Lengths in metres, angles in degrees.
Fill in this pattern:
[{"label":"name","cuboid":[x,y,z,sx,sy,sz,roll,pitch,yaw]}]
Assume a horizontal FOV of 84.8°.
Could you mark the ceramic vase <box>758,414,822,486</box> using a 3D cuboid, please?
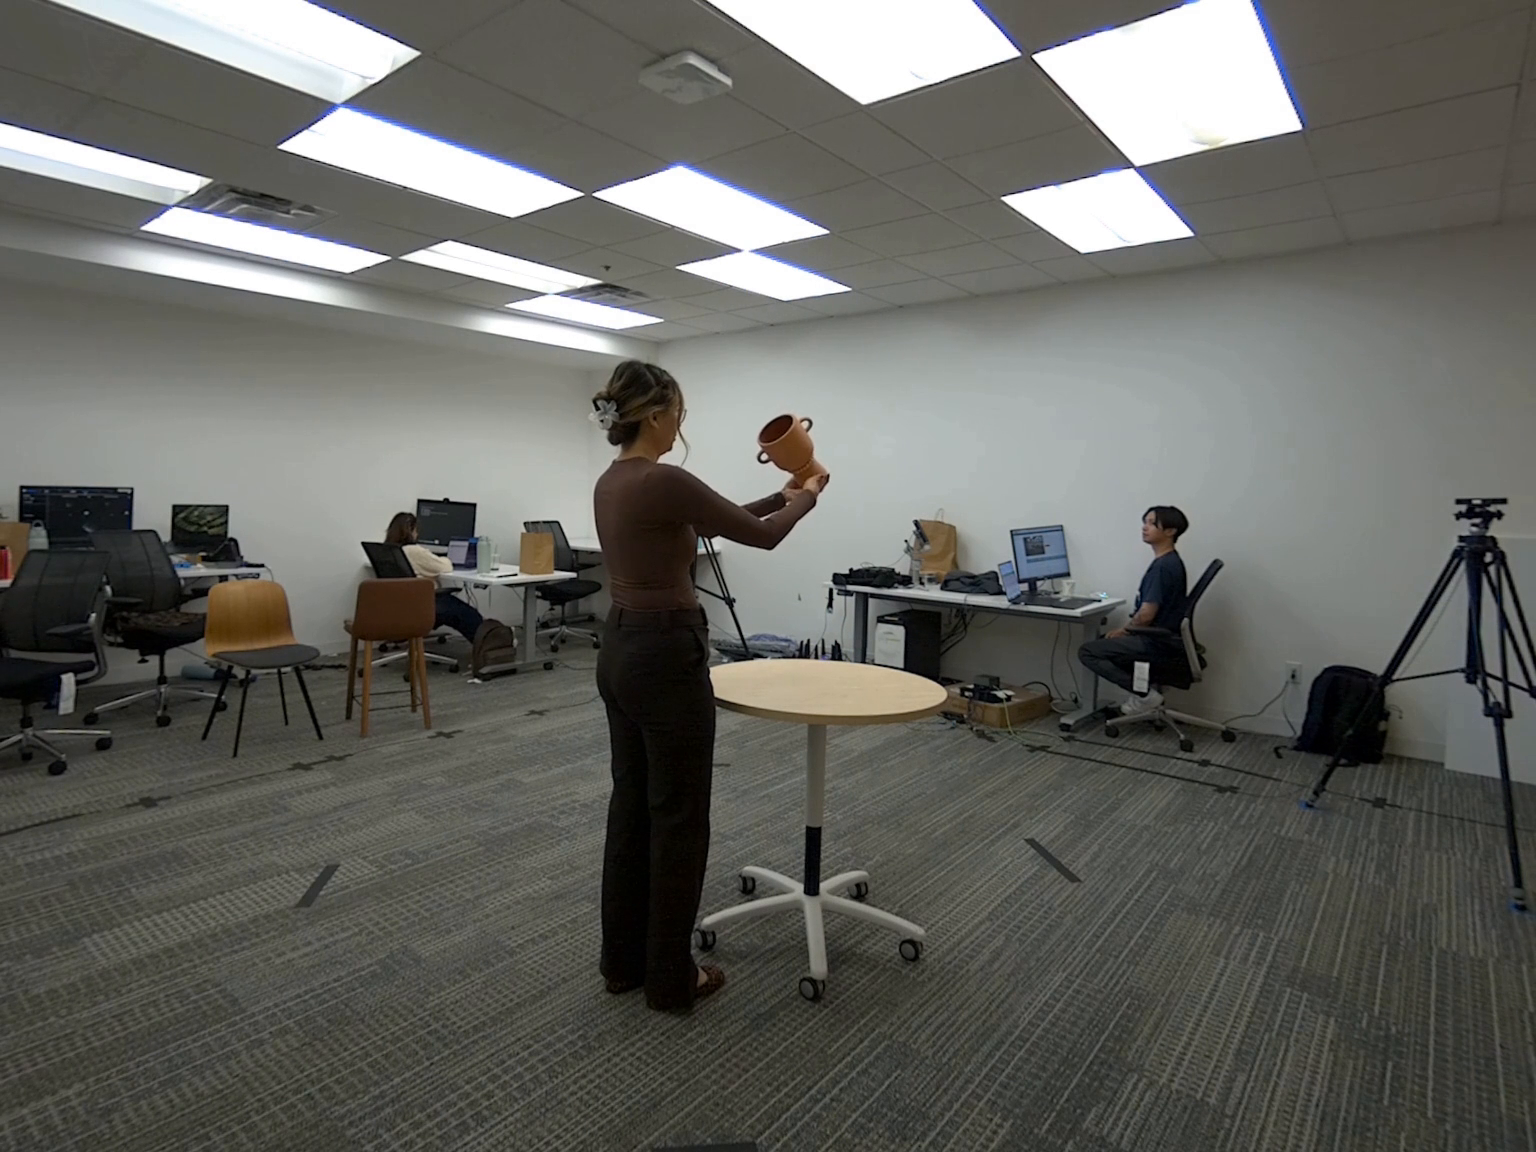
[{"label":"ceramic vase","cuboid":[0.073,-0.367,2.551,0.162,0.136,0.212,-13,-49,37]}]
